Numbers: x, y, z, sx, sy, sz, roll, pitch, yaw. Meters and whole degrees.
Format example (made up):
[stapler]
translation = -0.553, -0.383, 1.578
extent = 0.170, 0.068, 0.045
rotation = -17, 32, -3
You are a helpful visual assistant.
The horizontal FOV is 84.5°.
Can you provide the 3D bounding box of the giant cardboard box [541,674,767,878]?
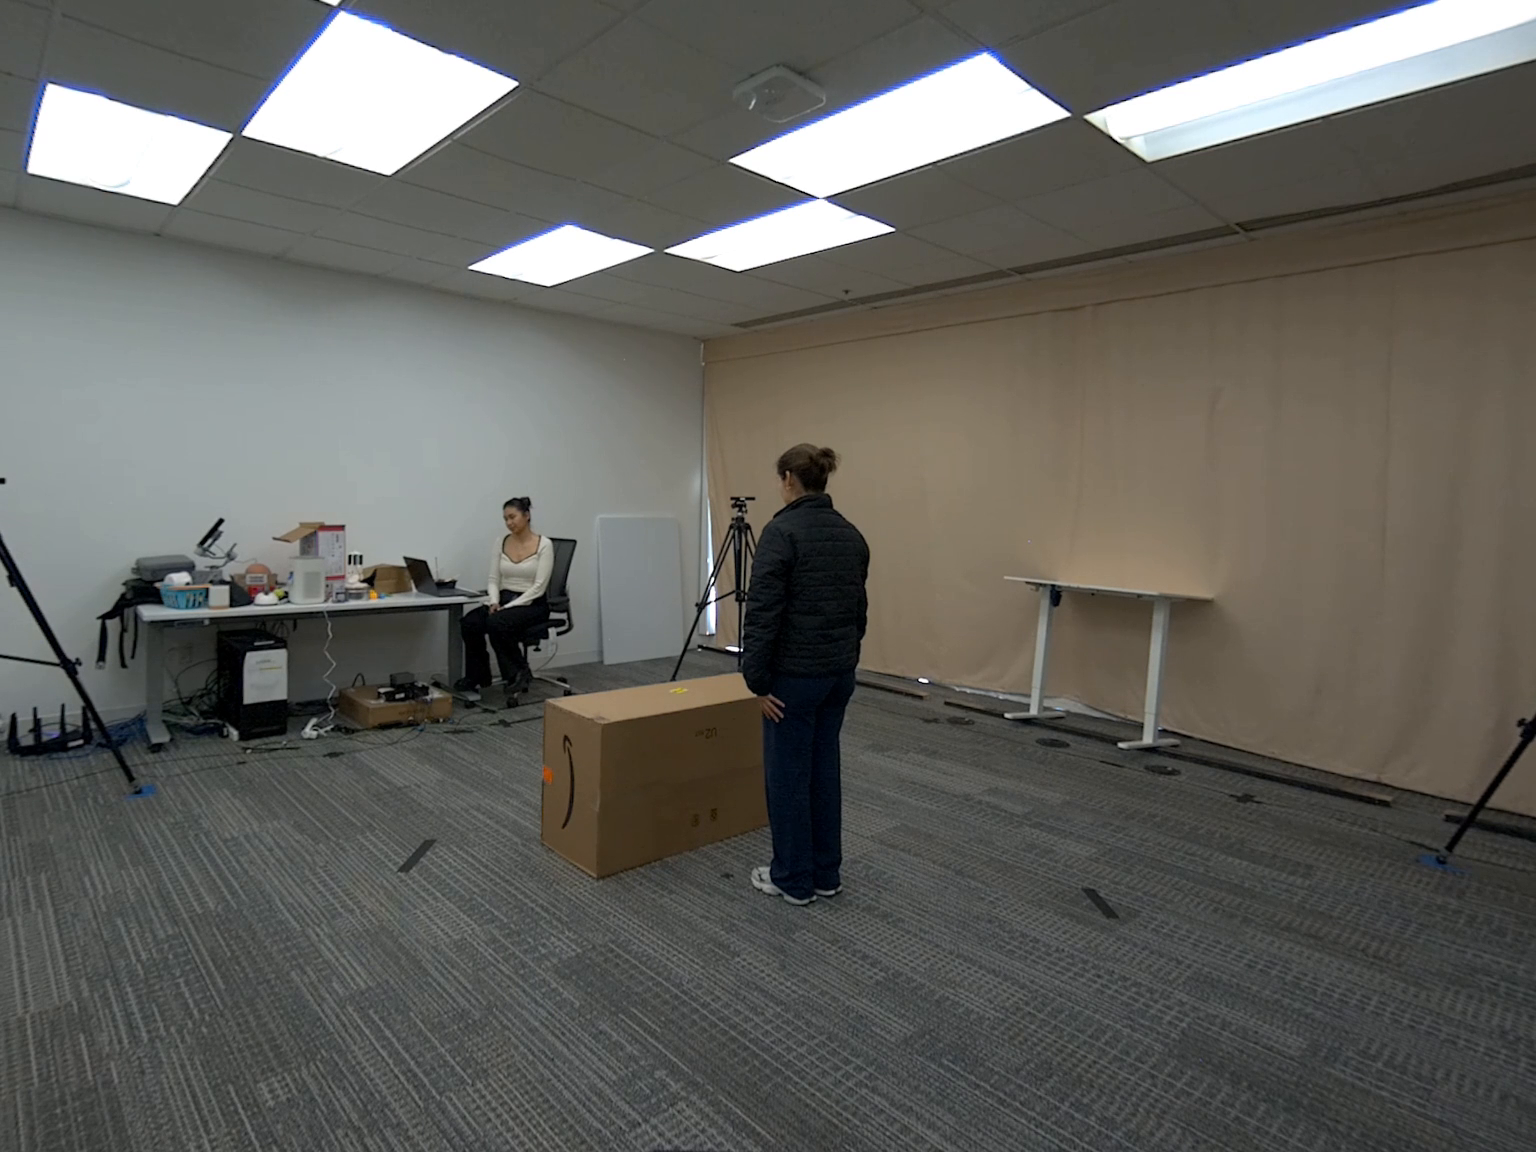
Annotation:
[giant cardboard box]
translation = -0.388, 0.782, 3.512
extent = 1.003, 0.583, 0.458
rotation = -2, 4, -43
